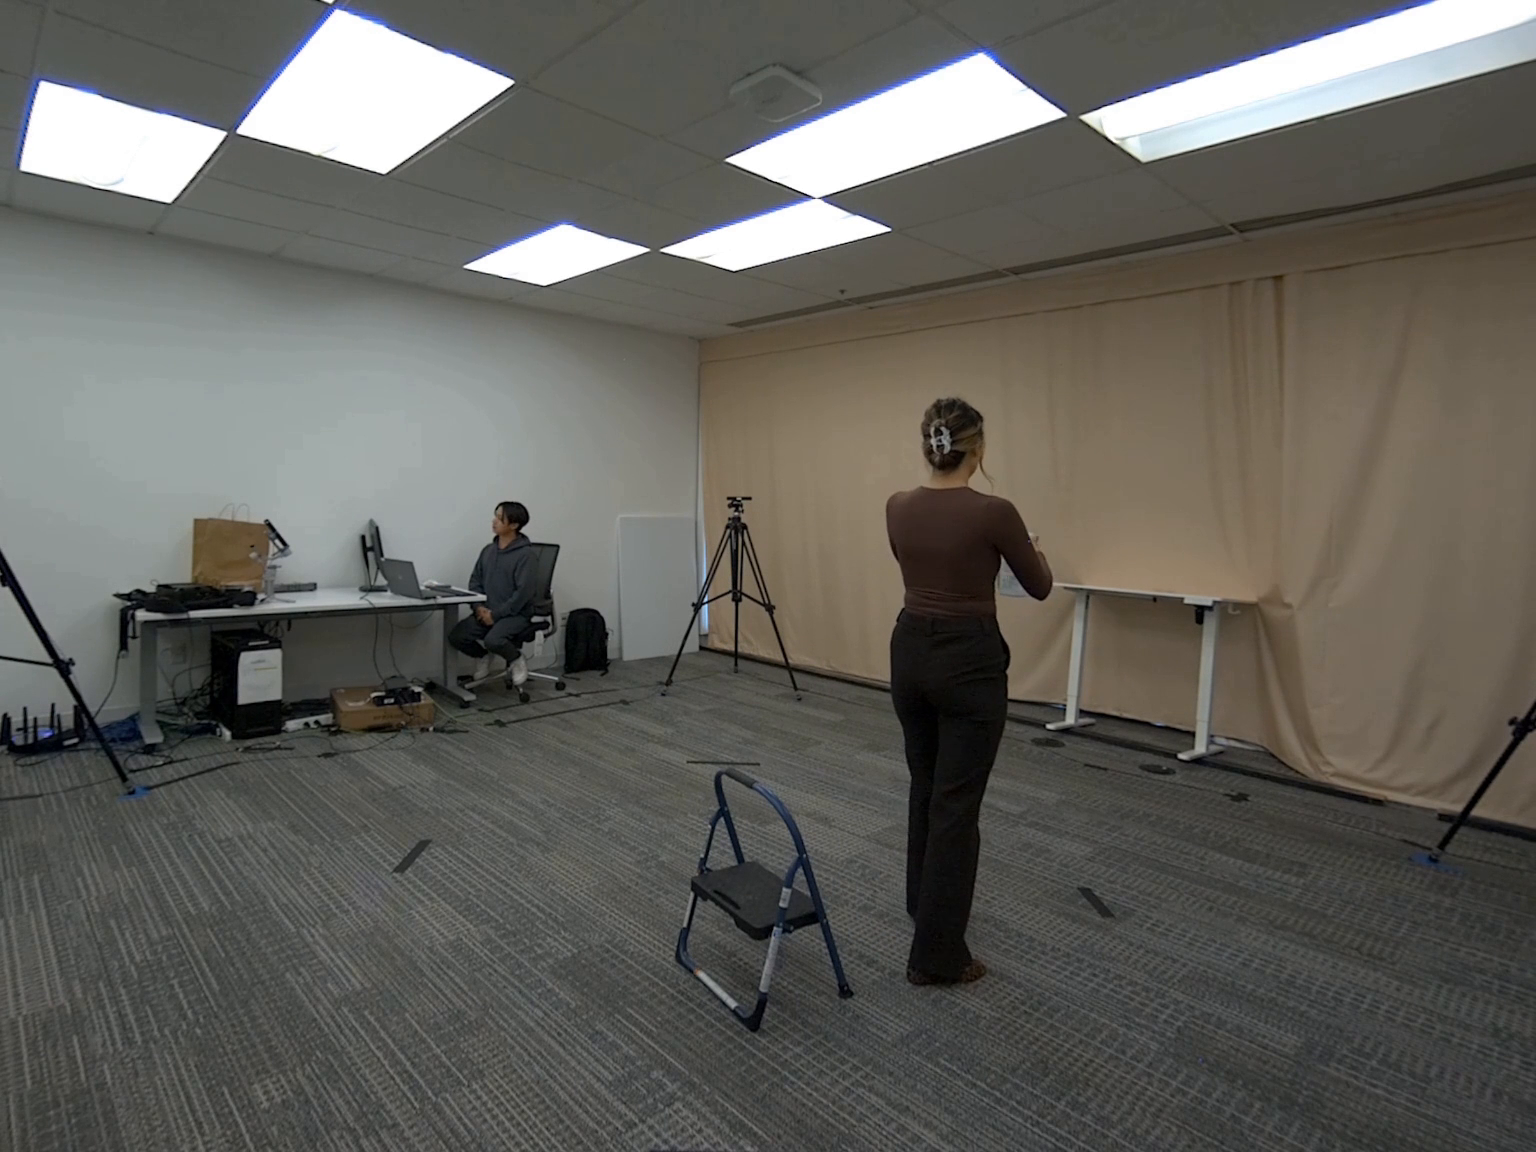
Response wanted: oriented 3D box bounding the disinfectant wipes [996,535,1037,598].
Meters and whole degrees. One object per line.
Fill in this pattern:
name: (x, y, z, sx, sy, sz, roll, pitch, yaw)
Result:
disinfectant wipes: (0.833, -0.040, 2.884, 0.118, 0.216, 0.118, 1, 6, -1)
